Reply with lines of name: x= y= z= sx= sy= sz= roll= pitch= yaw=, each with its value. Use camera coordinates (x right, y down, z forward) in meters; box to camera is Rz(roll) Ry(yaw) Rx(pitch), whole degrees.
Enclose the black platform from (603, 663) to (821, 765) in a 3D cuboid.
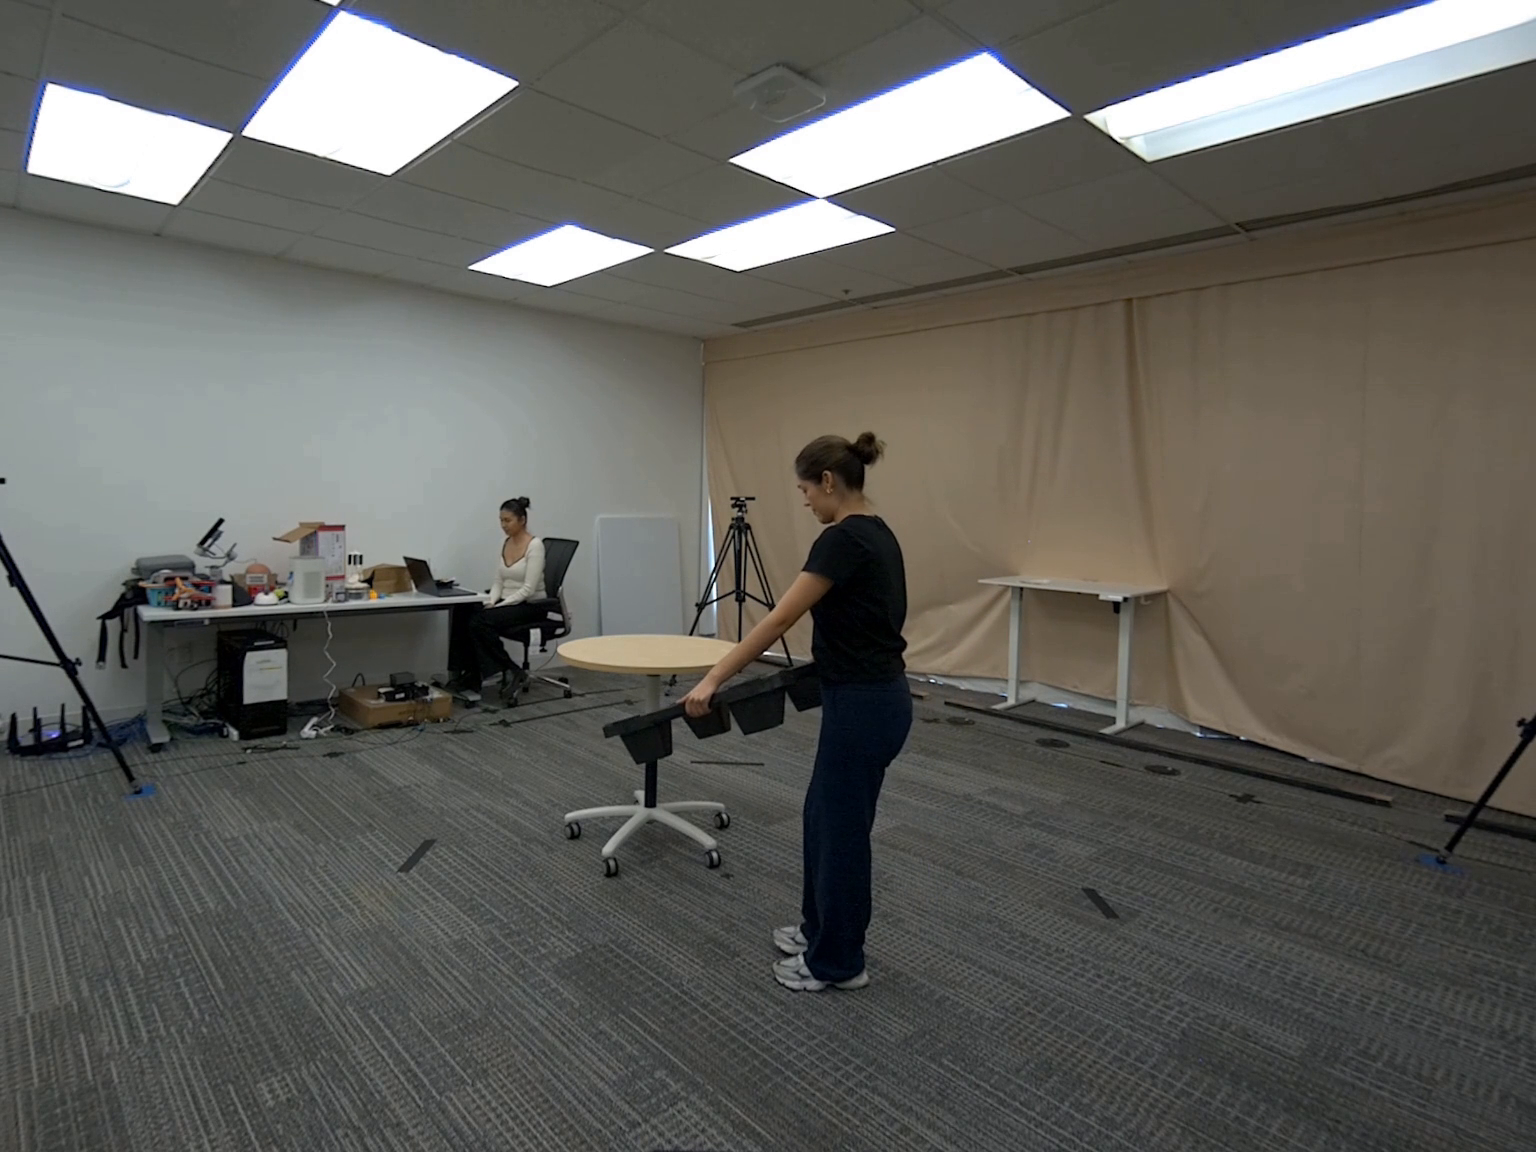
black platform: x=-0.032 y=0.388 z=2.600 sx=0.612 sy=0.144 sz=0.791 roll=-19 pitch=-6 yaw=26
